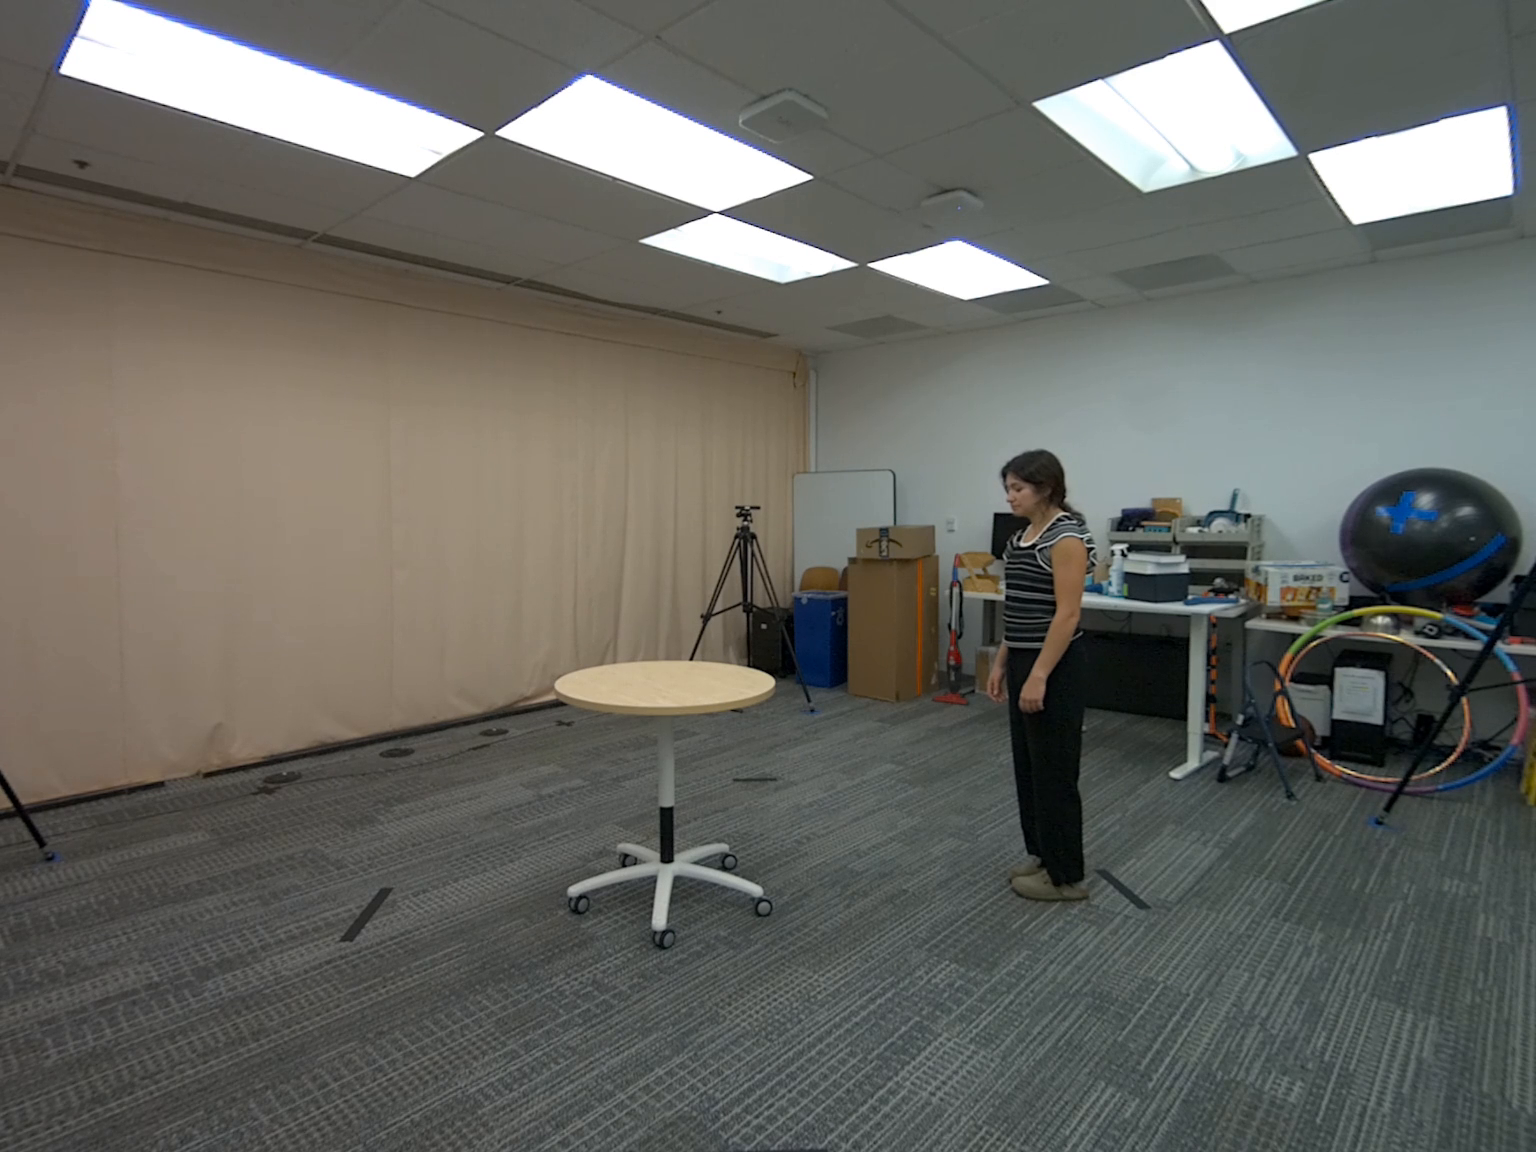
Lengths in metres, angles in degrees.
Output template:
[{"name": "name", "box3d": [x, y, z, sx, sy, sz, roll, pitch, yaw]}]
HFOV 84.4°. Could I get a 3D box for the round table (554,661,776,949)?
[{"name": "round table", "box3d": [-0.354, 0.765, 2.968, 0.763, 0.792, 0.766, 0, 4, -2]}]
